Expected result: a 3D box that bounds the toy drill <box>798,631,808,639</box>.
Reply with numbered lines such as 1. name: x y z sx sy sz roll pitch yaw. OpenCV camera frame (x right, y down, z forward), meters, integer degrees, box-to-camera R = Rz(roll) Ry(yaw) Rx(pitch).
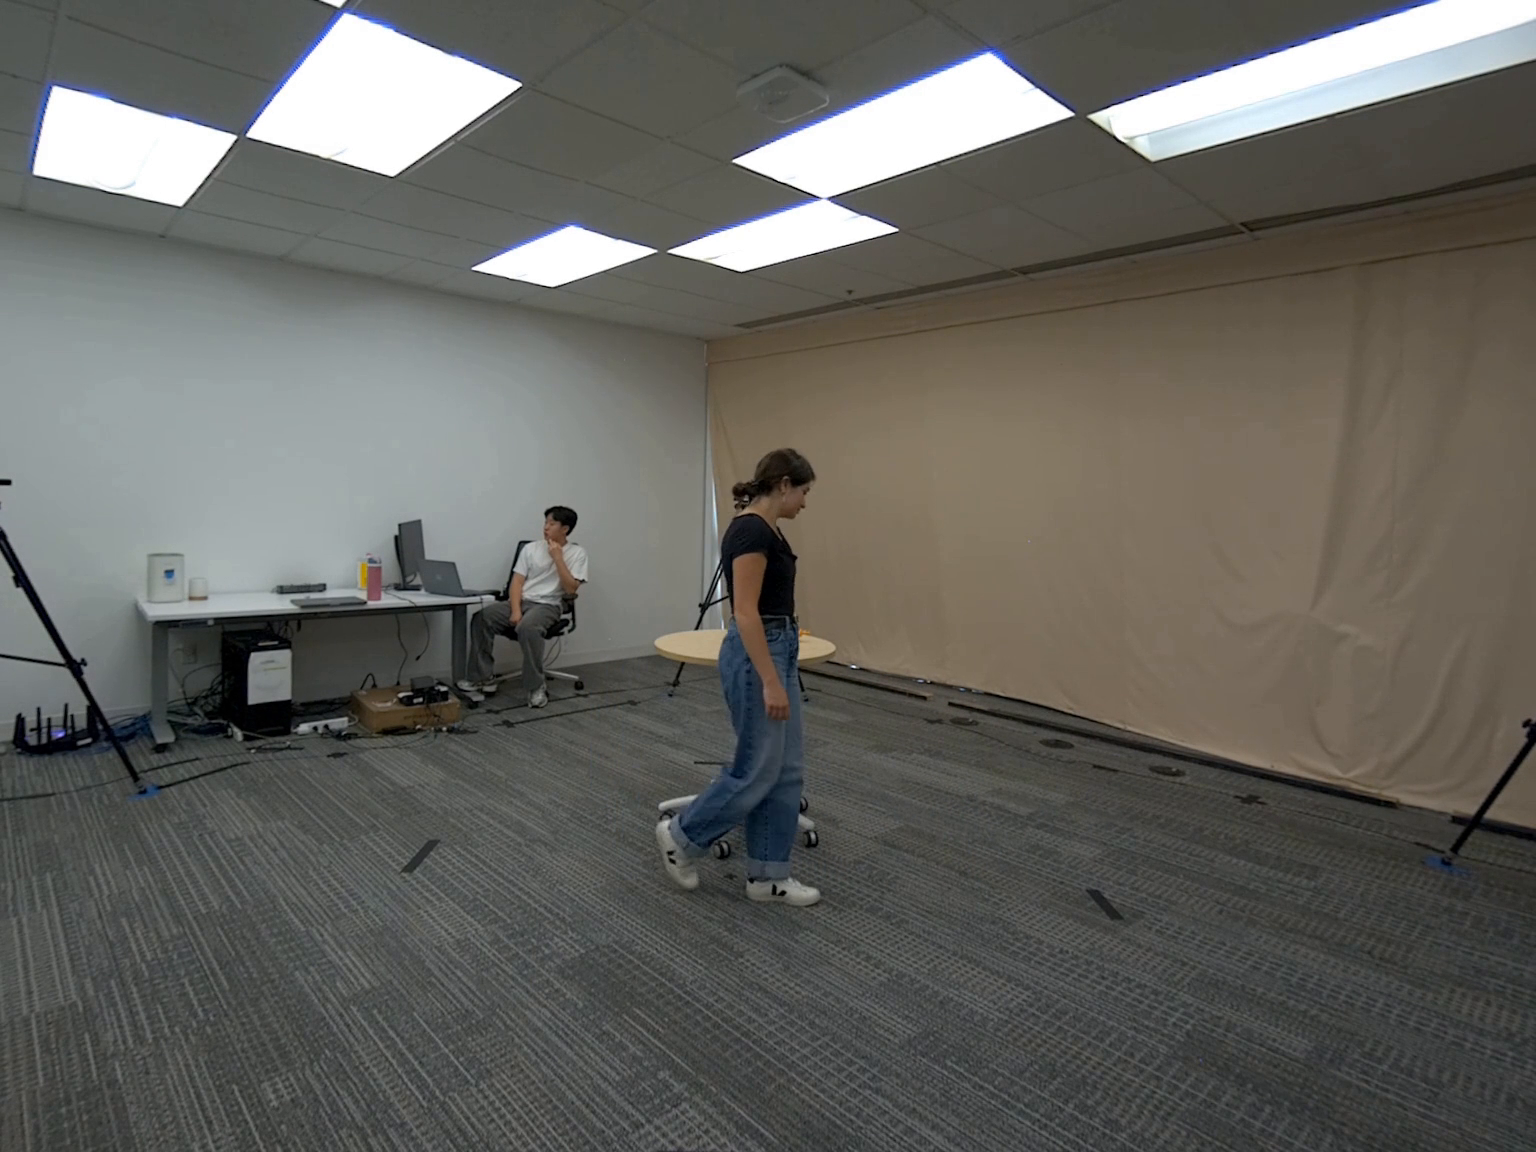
1. toy drill: 0.099 0.252 3.689 0.171 0.061 0.145 -5 3 8
